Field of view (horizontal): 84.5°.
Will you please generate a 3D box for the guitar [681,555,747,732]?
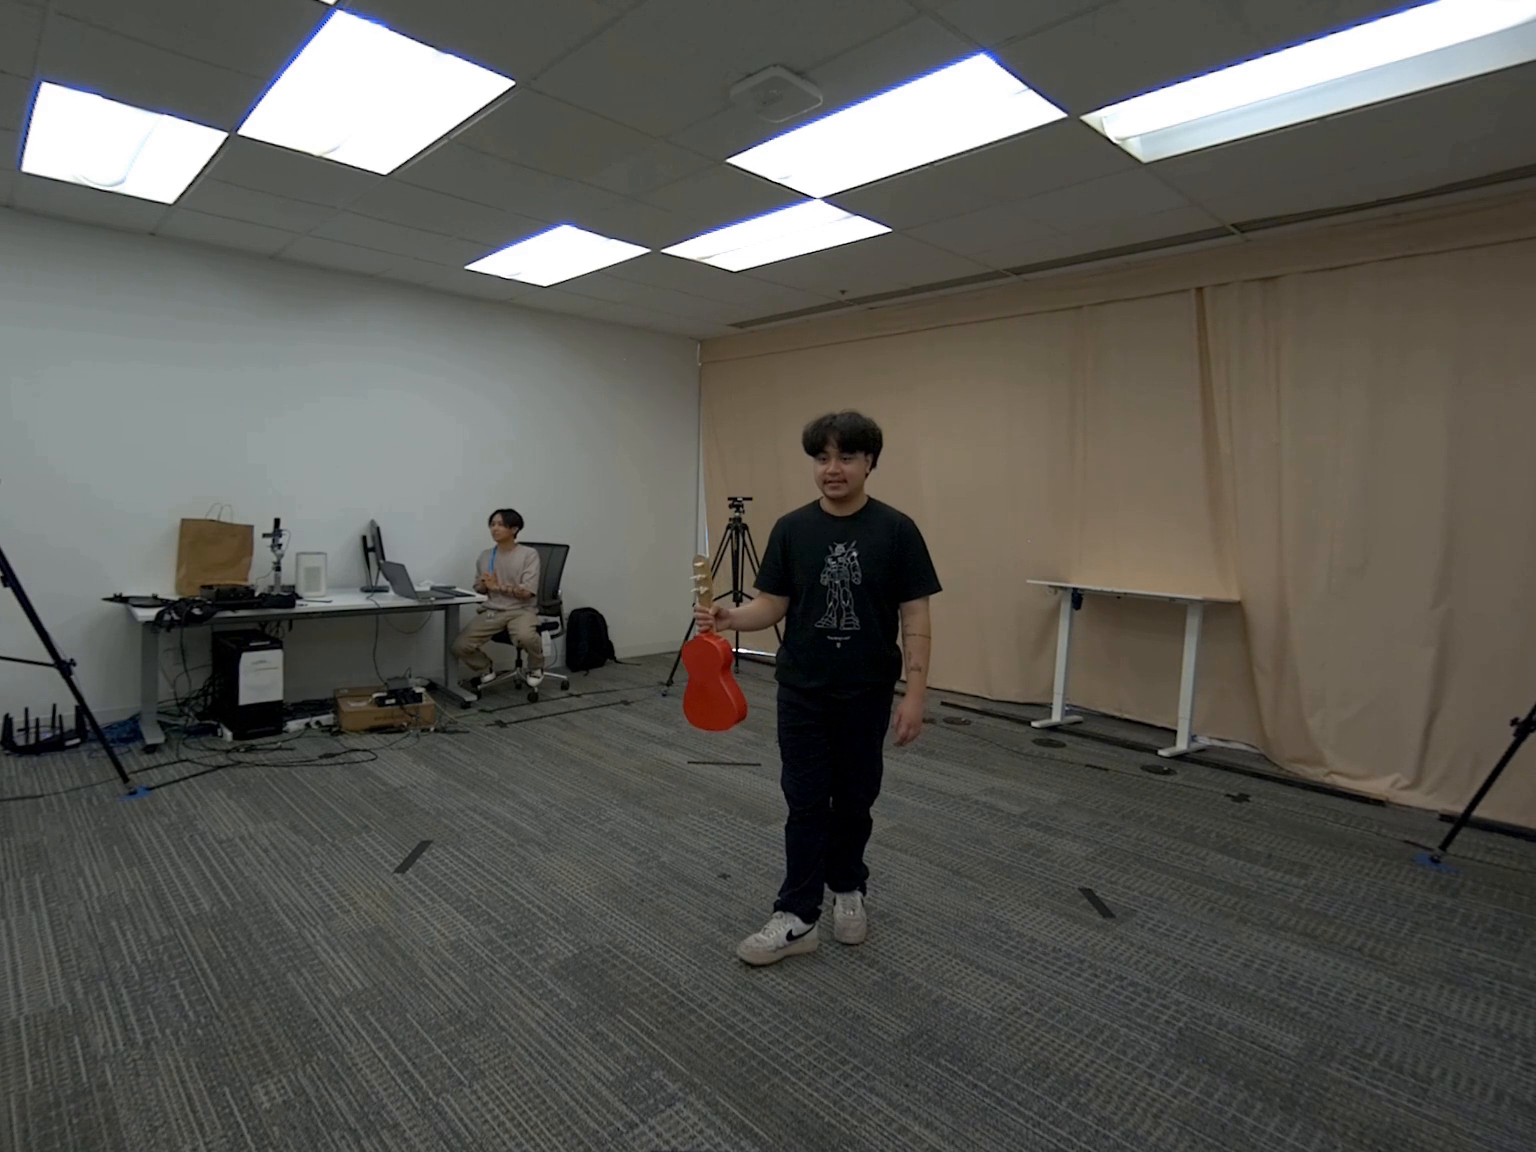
[{"bbox_3d":[-0.200,0.197,2.427,0.196,0.499,0.069,-13,-4,37],"label":"guitar"}]
